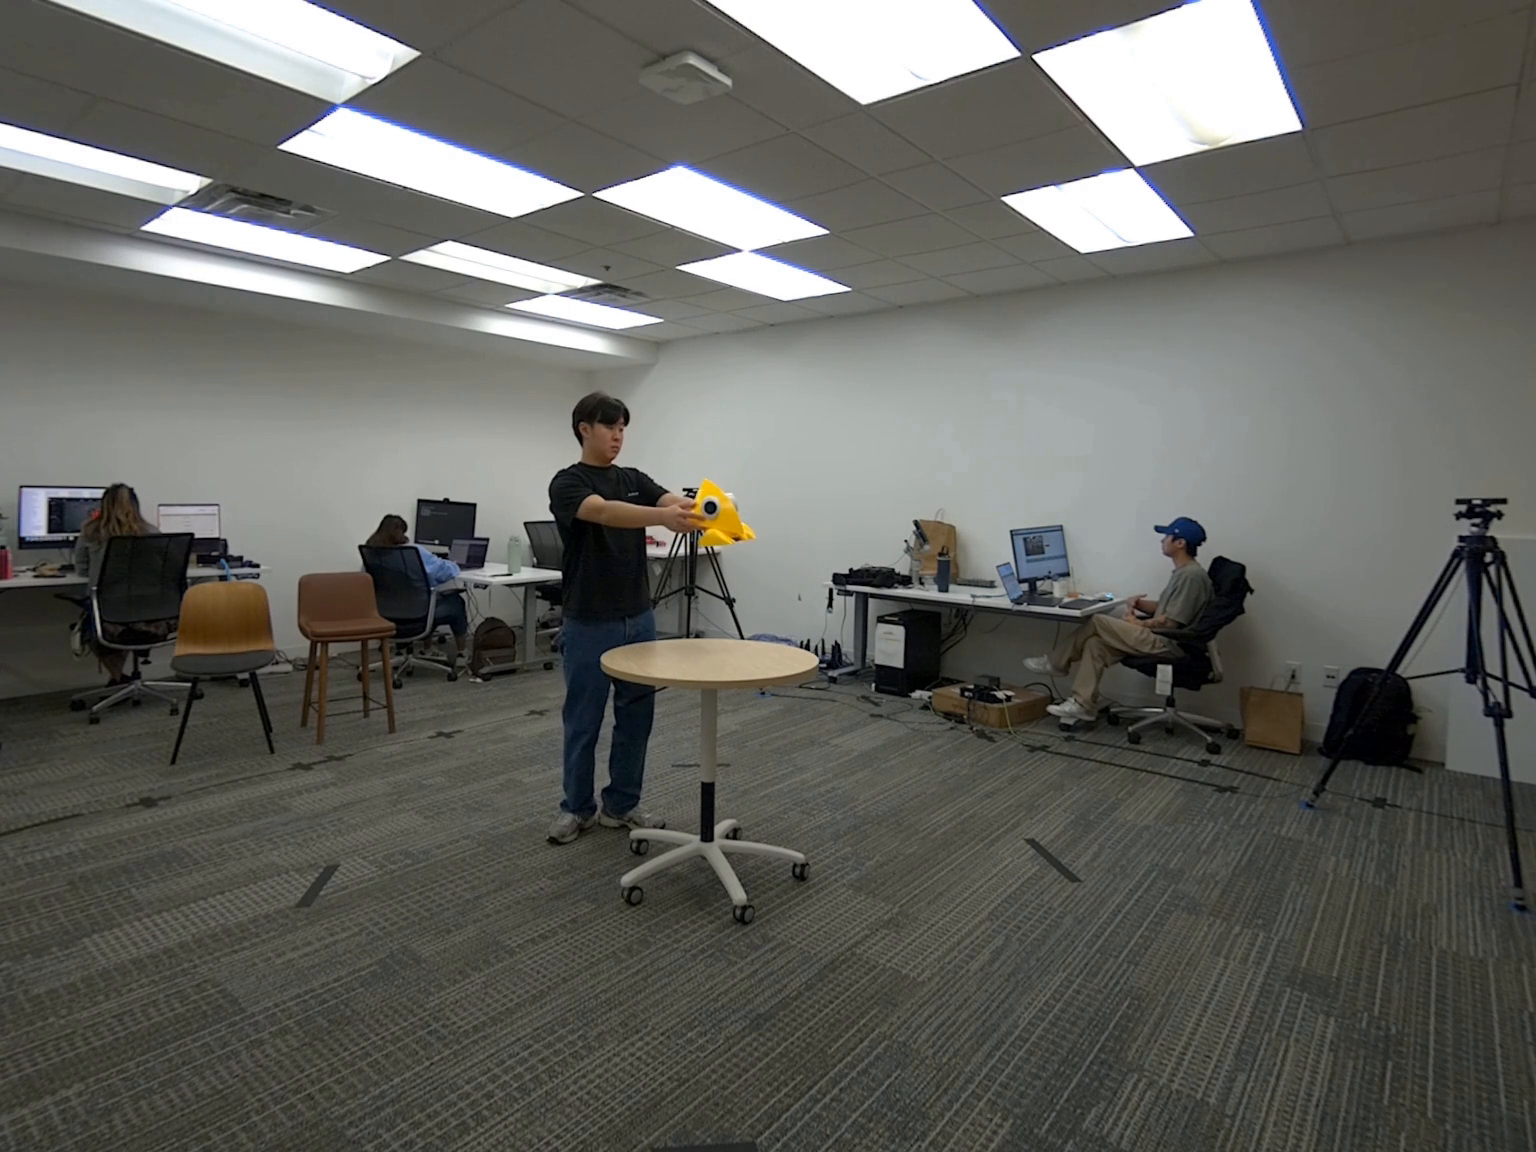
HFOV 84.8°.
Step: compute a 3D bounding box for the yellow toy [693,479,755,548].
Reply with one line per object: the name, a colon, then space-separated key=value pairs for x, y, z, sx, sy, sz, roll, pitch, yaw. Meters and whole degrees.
yellow toy: x=-0.177 y=-0.236 z=2.974 sx=0.199 sy=0.230 sz=0.199 roll=-2 pitch=6 yaw=41
